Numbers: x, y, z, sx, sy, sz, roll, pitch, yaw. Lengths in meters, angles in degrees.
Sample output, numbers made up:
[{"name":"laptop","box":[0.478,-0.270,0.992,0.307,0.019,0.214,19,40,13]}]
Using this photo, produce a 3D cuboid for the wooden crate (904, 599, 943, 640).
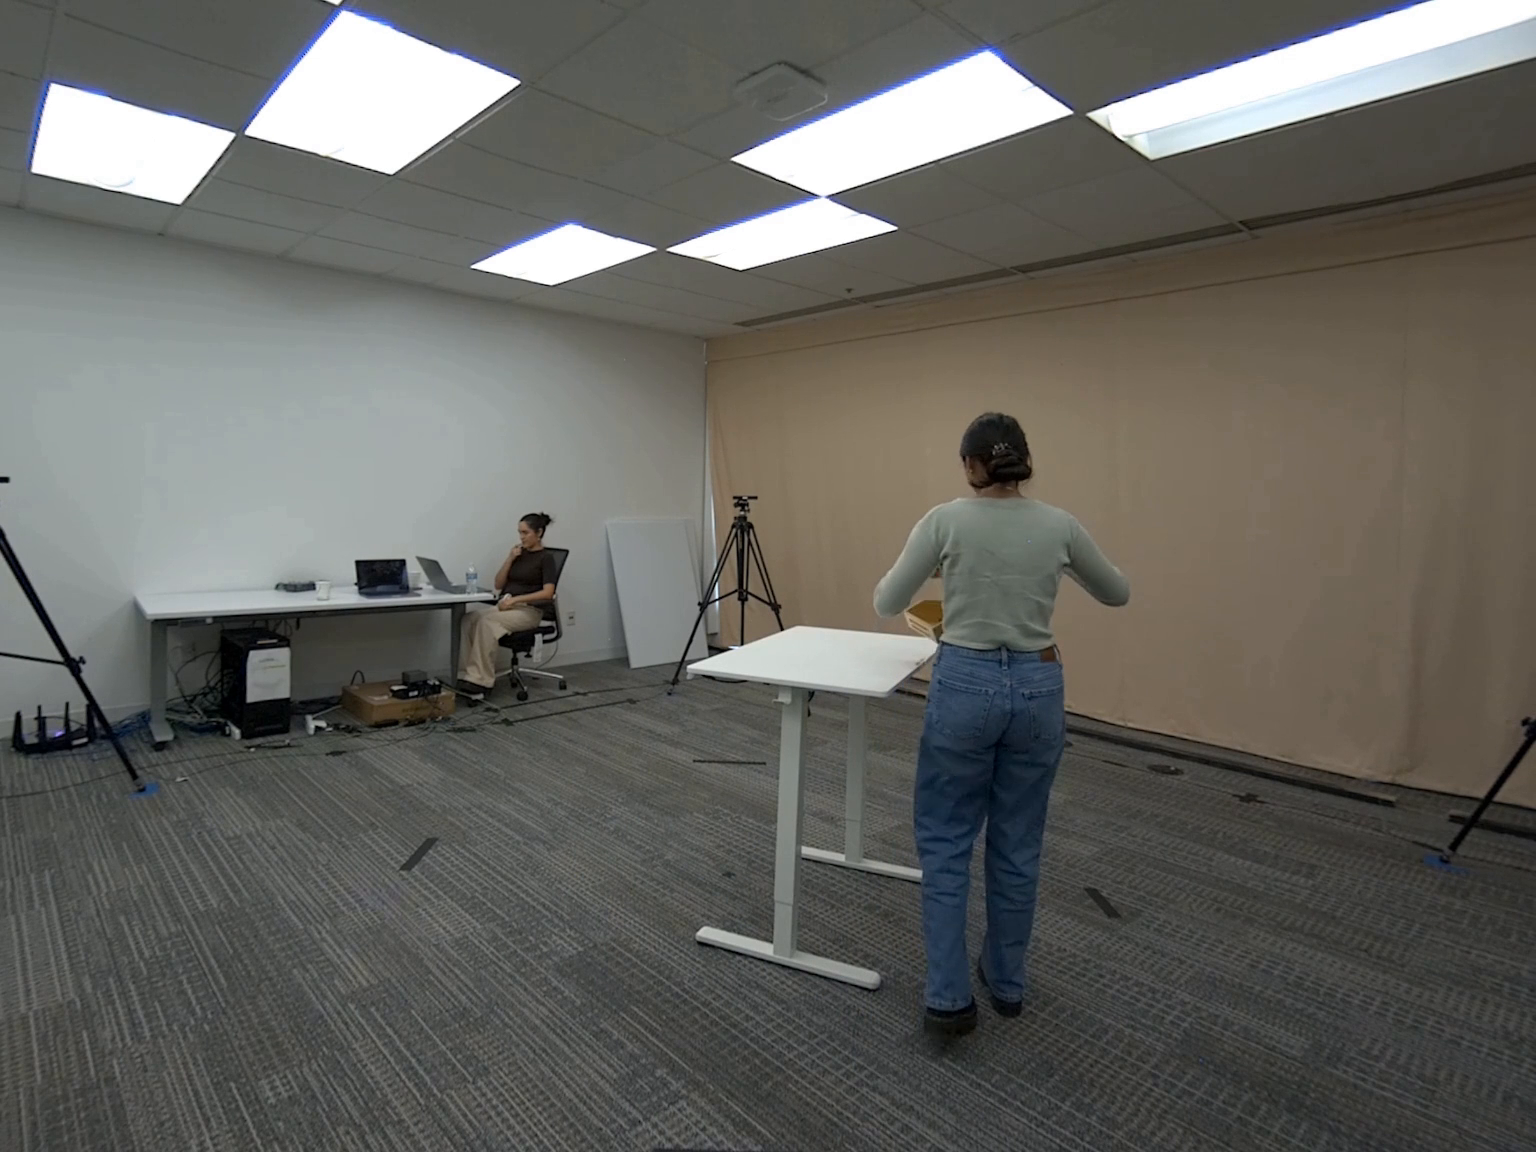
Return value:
[{"name":"wooden crate","box":[0.568,0.076,2.562,0.301,0.272,0.327,-4,5,-5]}]
